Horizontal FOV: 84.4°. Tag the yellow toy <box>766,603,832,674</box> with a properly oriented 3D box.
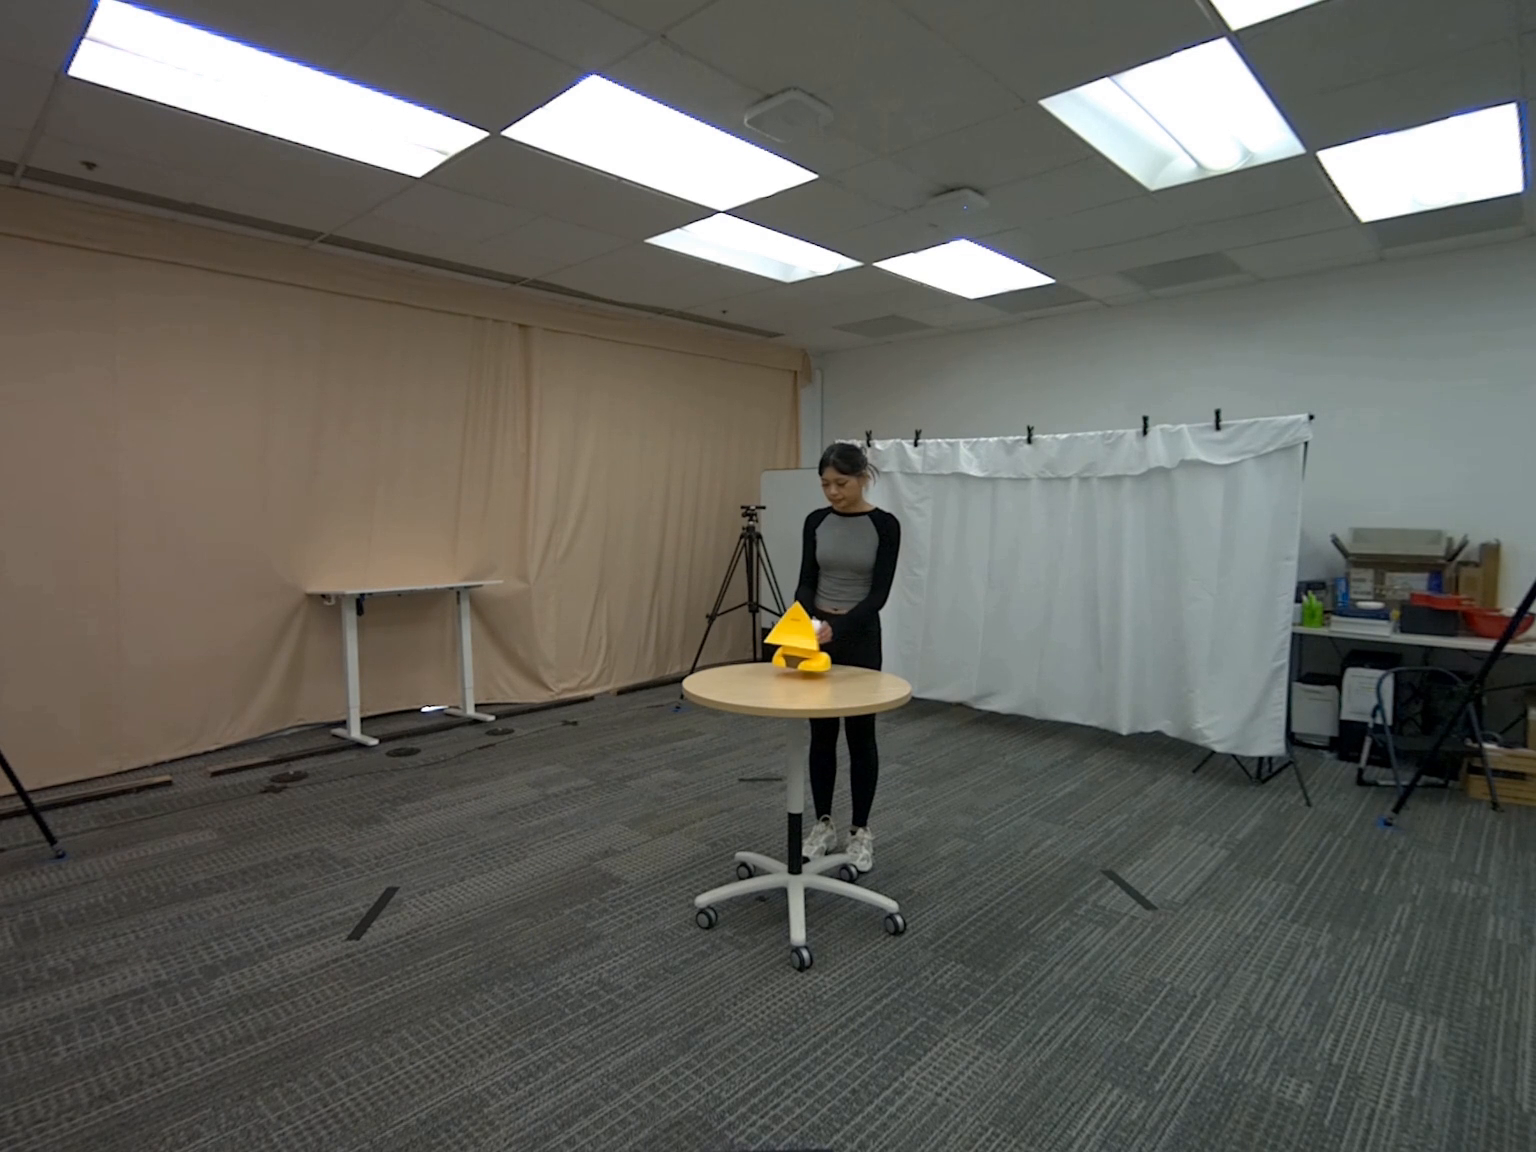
[{"bbox_3d":[0.127,0.204,2.949,0.211,0.230,0.187,6,2,31],"label":"yellow toy"}]
